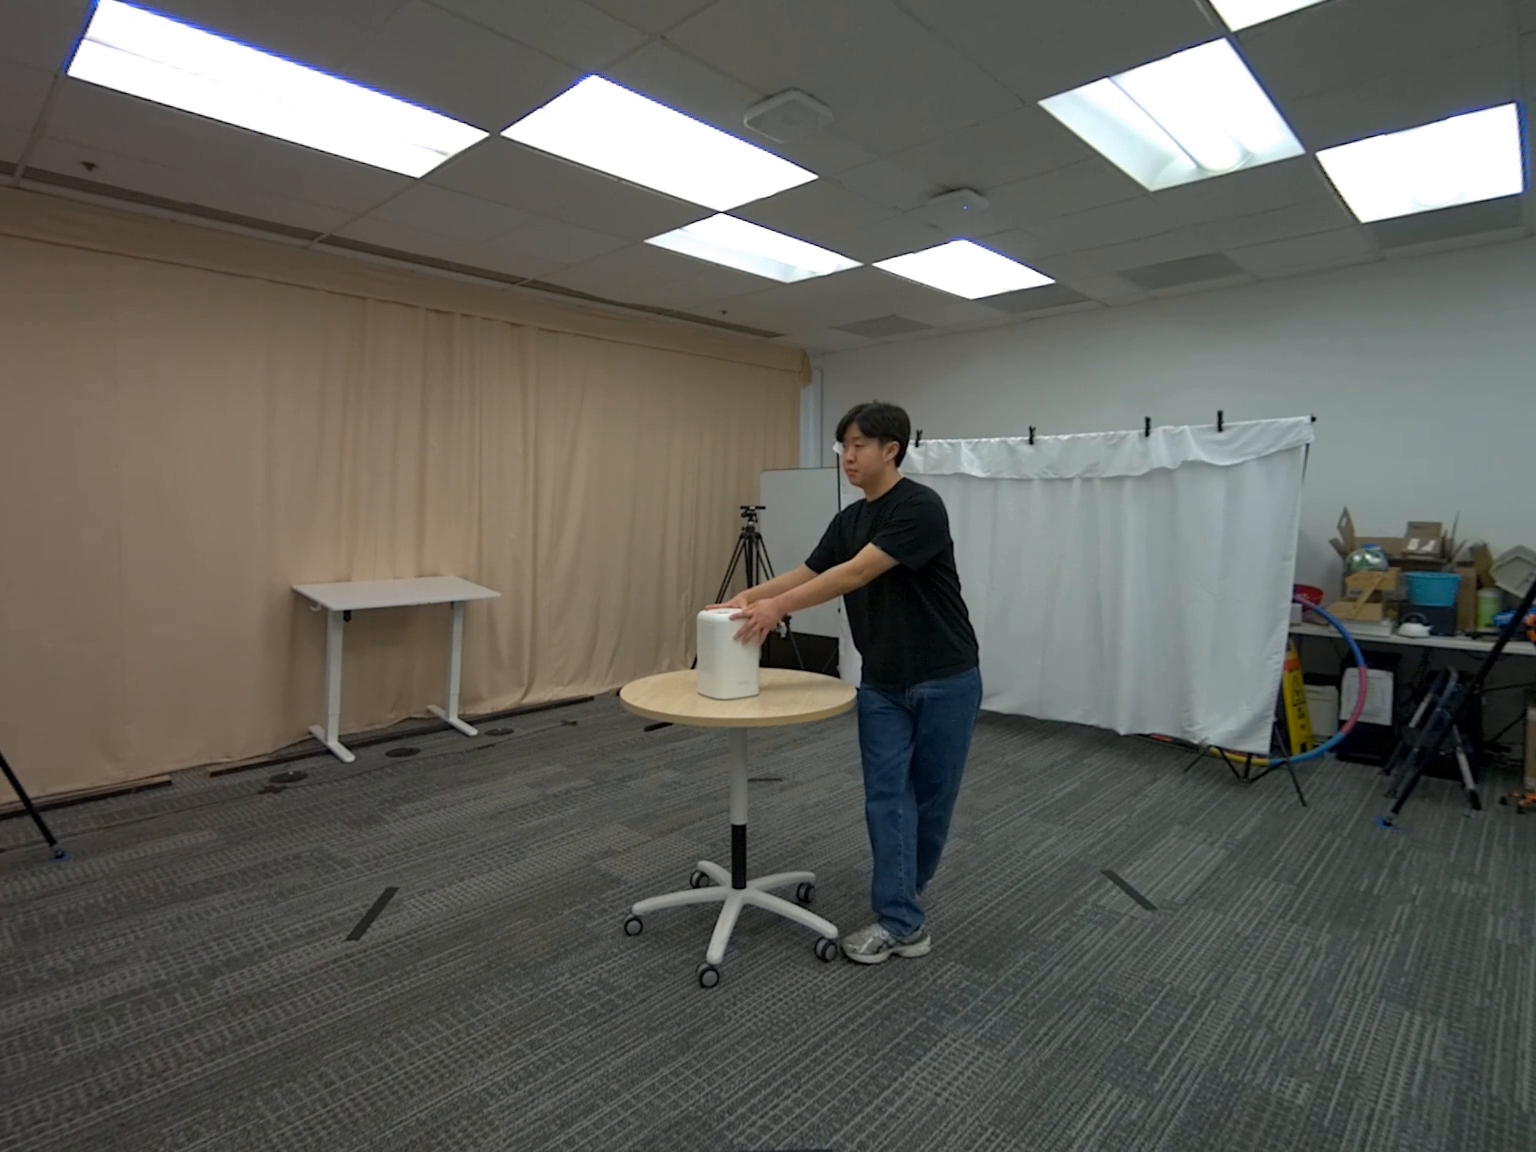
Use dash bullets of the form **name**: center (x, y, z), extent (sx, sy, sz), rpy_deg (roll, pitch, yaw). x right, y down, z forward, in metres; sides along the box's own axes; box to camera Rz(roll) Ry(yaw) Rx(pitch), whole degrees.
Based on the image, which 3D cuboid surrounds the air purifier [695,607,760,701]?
- **air purifier**: center (-0.122, 0.247, 2.672), extent (0.166, 0.265, 0.177), rpy_deg (-3, 4, -34)
